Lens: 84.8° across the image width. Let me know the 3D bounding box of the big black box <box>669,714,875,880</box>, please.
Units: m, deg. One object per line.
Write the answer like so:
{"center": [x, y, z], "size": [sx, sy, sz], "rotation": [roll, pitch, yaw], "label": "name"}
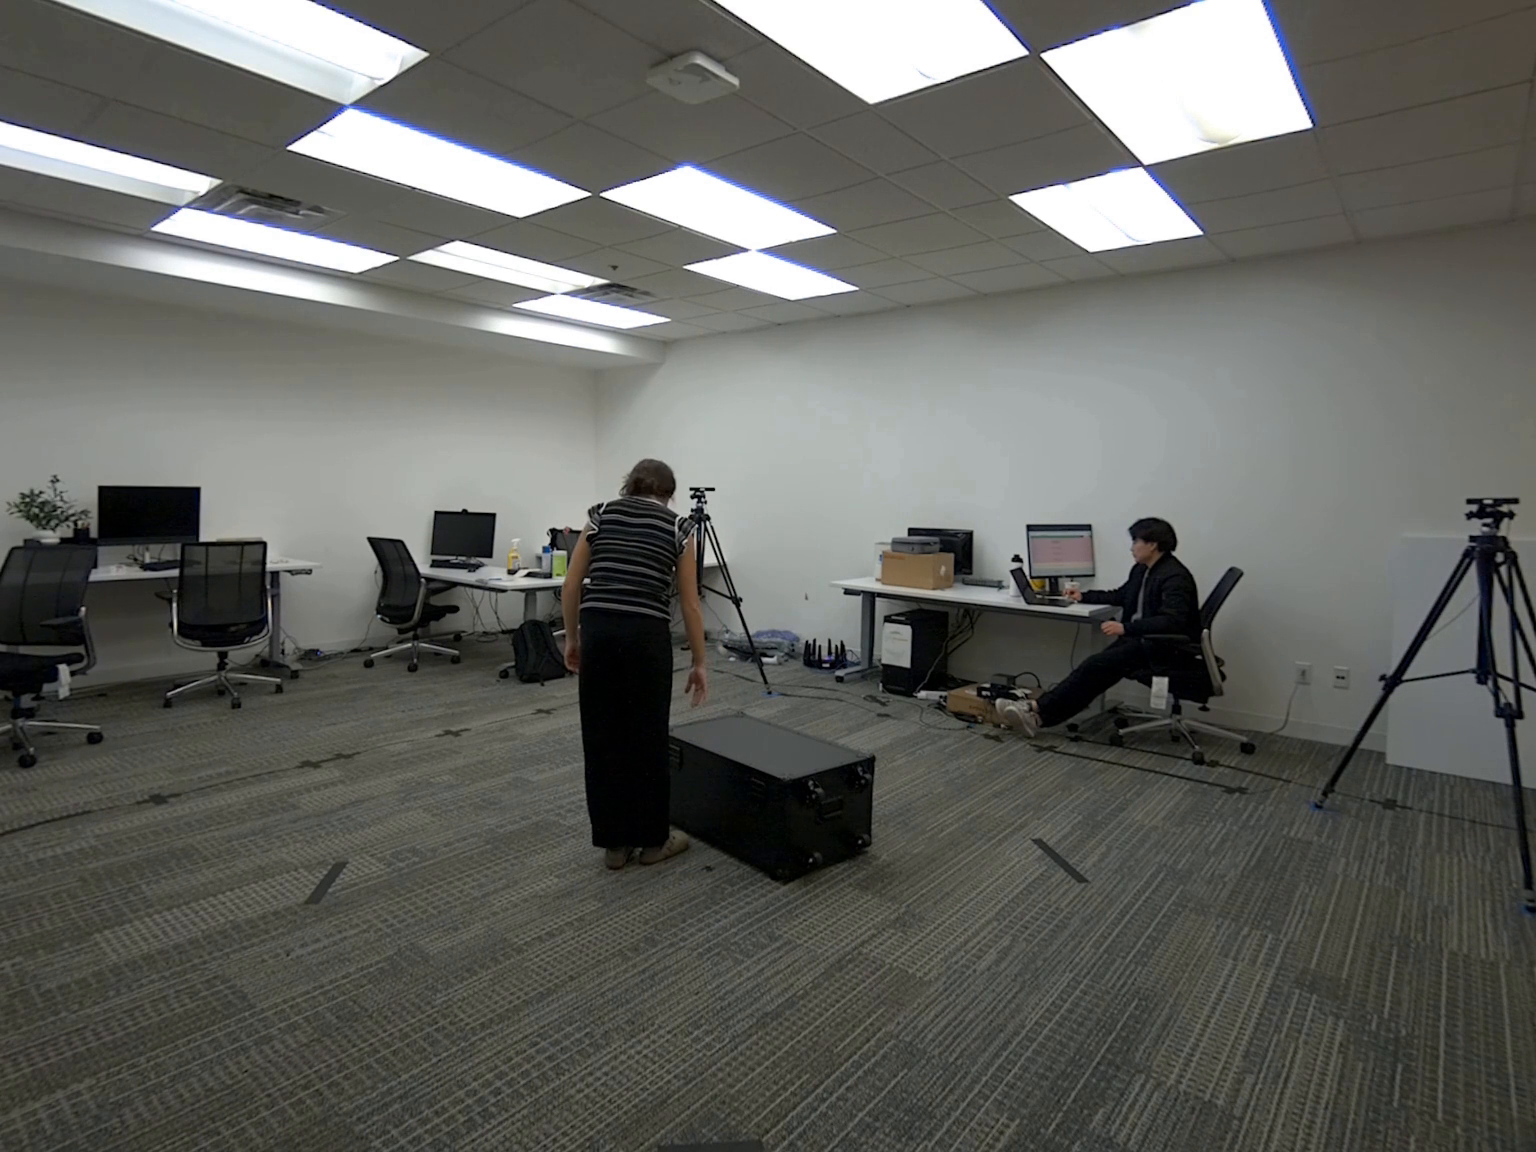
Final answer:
{"center": [-0.024, 0.851, 3.397], "size": [0.505, 0.395, 0.891], "rotation": [-3, 6, -42], "label": "big black box"}
